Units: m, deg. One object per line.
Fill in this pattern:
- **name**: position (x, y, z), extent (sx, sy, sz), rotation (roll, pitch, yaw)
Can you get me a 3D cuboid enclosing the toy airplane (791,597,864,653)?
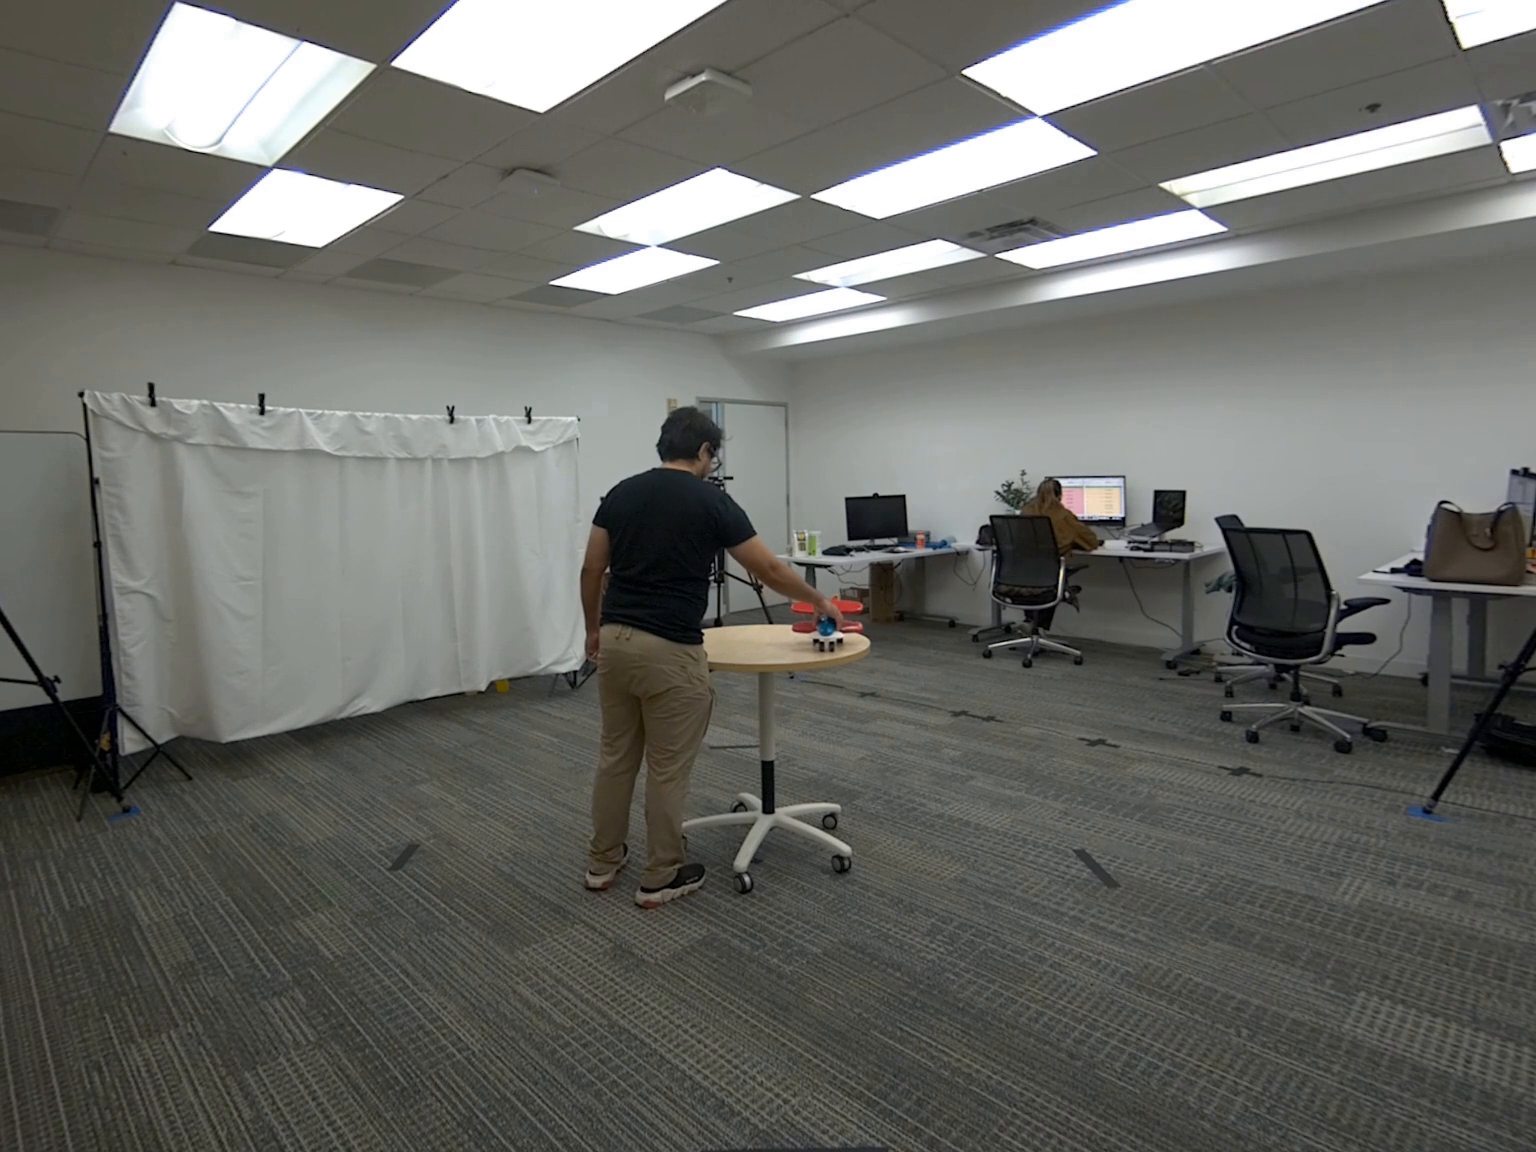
- **toy airplane**: position (0.233, 0.176, 3.049), extent (0.246, 0.156, 0.265), rotation (-4, 7, -24)
